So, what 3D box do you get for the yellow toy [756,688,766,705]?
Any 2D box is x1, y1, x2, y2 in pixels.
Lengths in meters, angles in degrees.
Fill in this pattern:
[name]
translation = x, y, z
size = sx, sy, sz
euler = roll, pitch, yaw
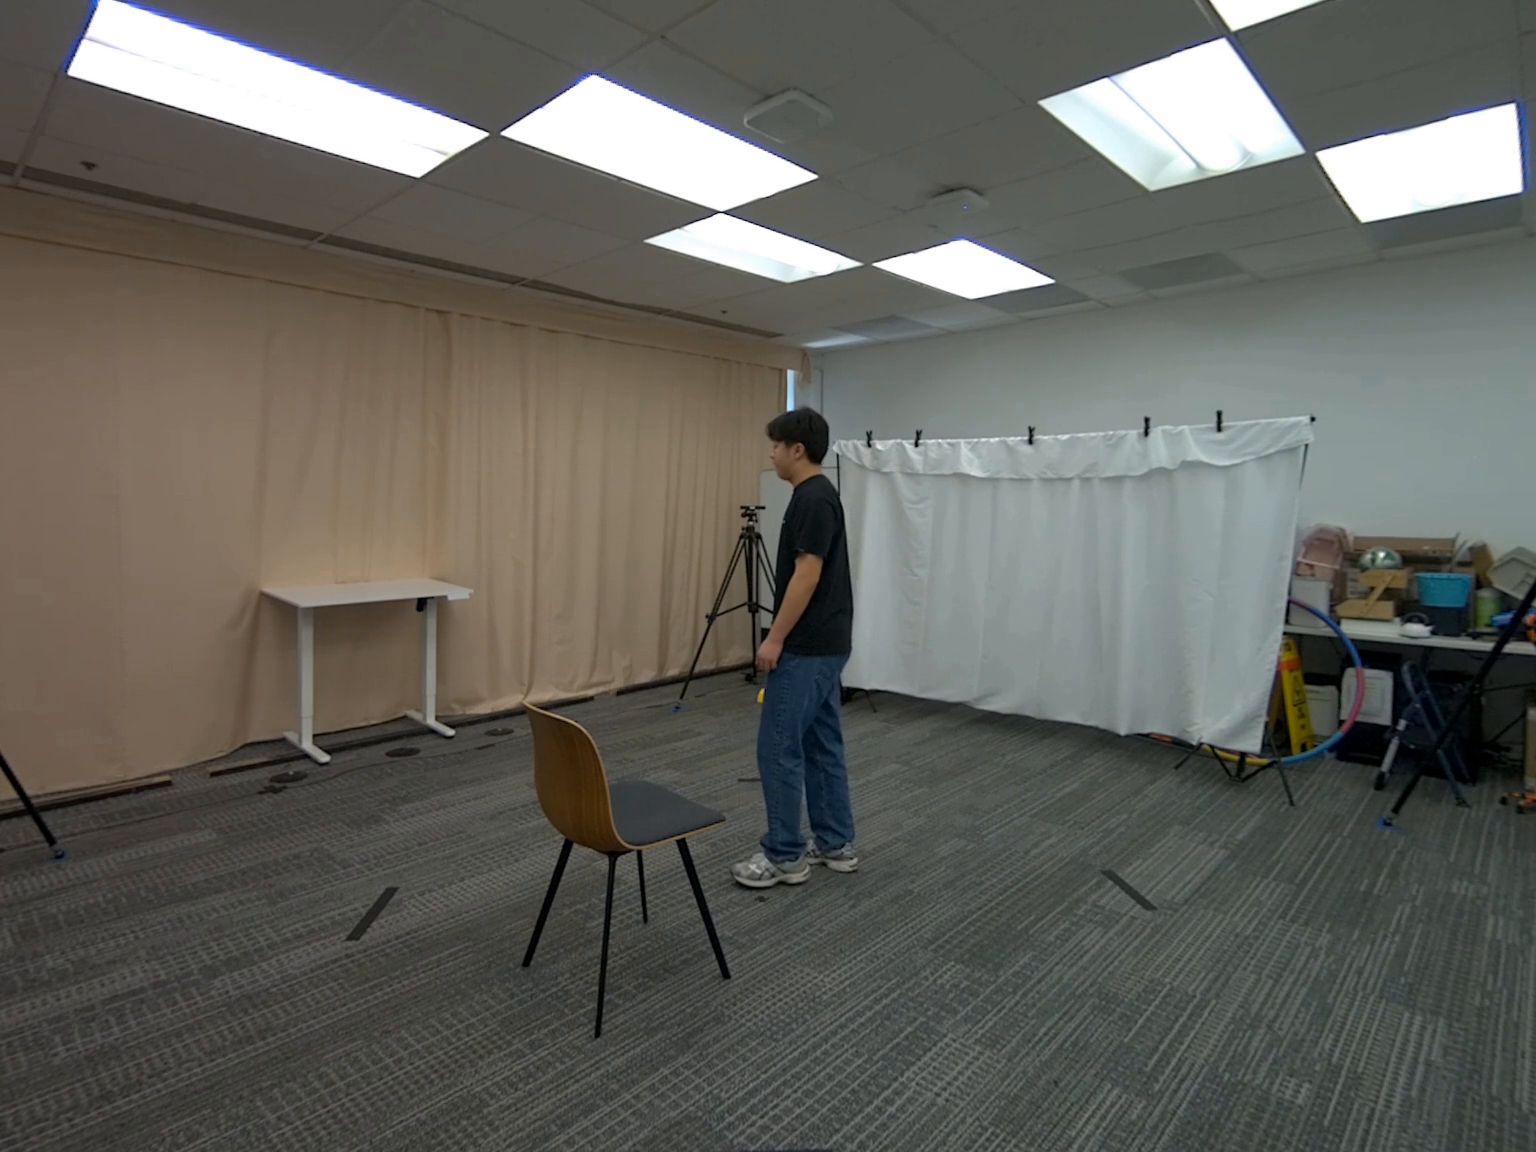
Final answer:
[yellow toy]
translation = 0.056, 0.416, 3.561
size = 0.198, 0.232, 0.198
euler = 6, -10, -34
